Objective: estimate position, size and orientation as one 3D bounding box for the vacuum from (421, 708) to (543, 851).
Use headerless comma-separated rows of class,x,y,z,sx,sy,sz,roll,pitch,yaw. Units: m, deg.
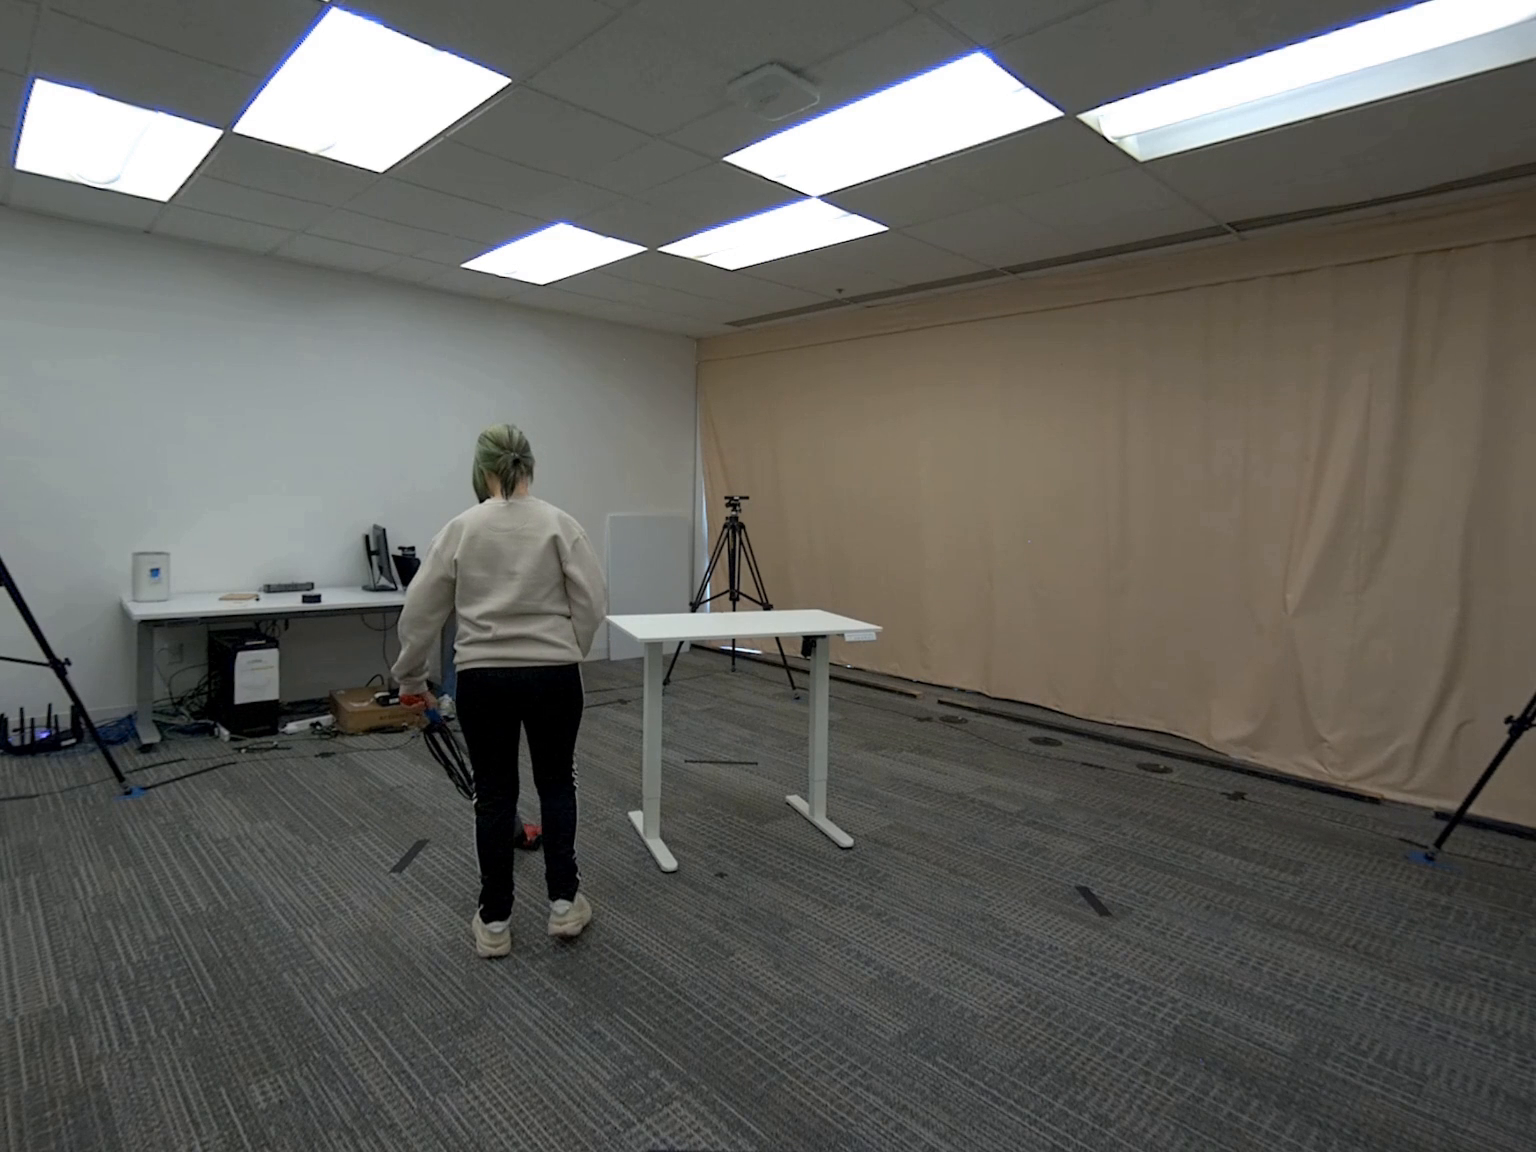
vacuum,-1.041,0.717,2.975,0.256,0.146,1.021,5,-39,14
